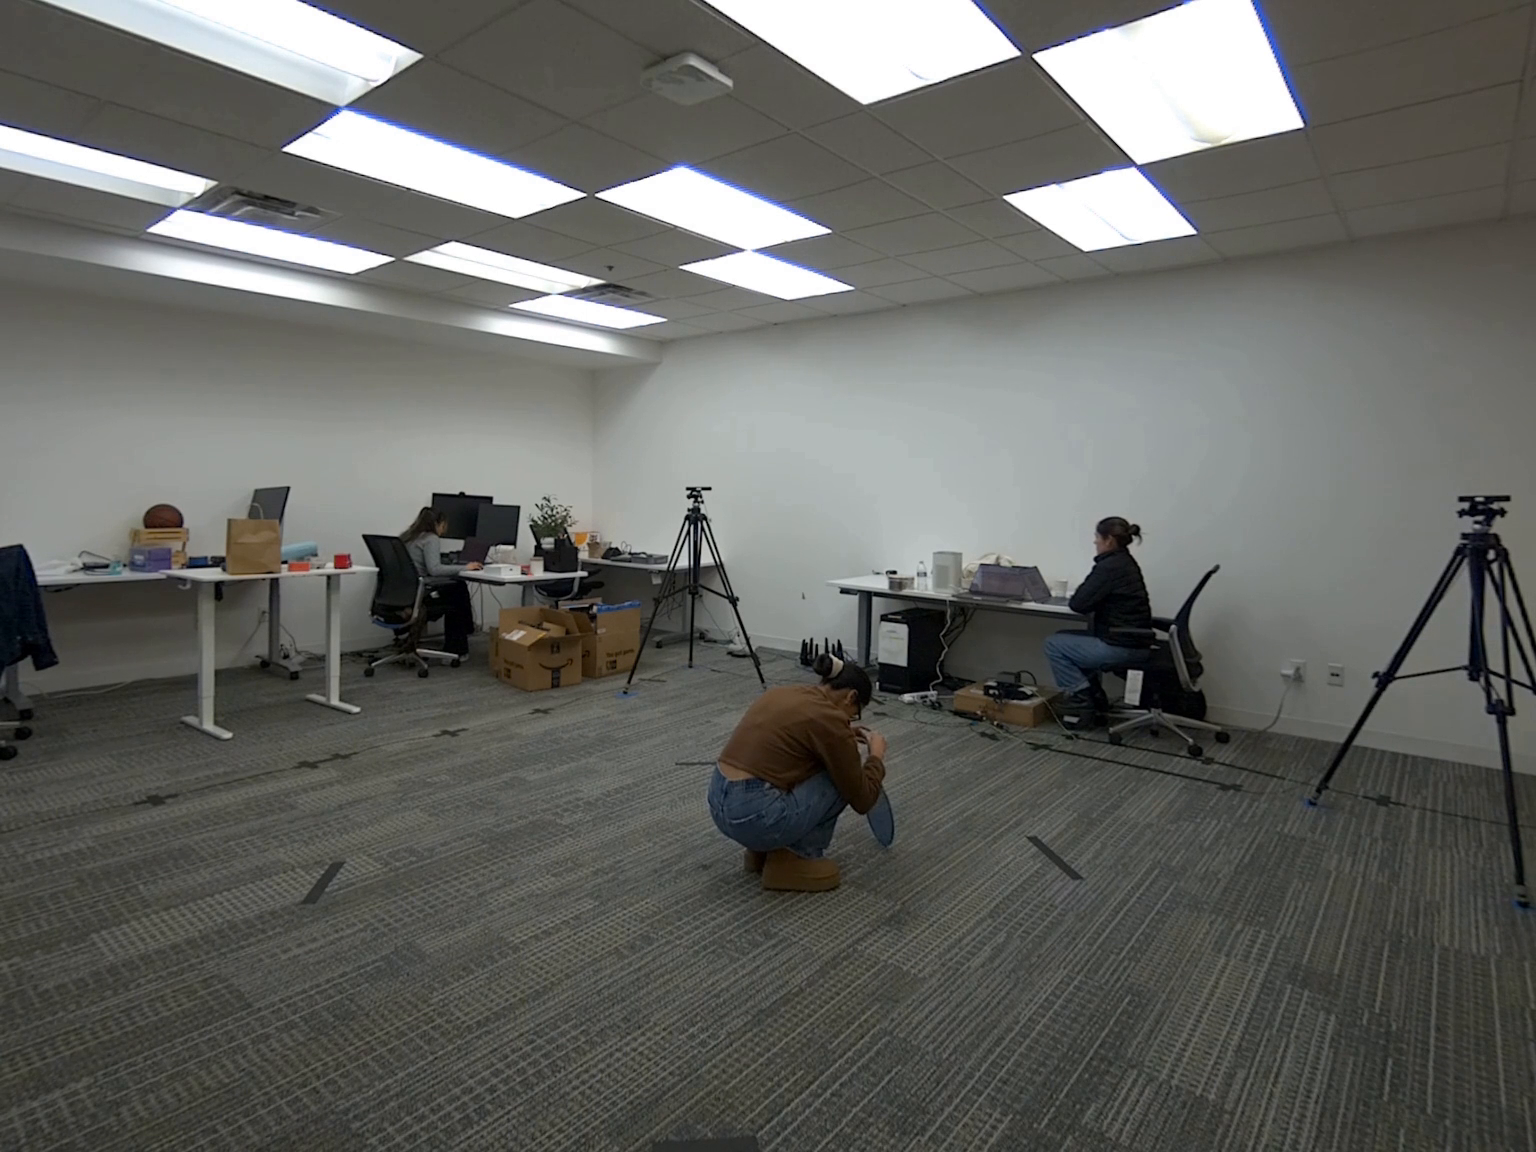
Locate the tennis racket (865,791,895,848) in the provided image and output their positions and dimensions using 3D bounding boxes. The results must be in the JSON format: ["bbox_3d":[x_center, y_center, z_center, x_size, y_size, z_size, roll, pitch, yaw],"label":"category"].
[{"bbox_3d":[0.420,0.847,3.319,0.031,0.429,0.219,-8,9,-21],"label":"tennis racket"}]
